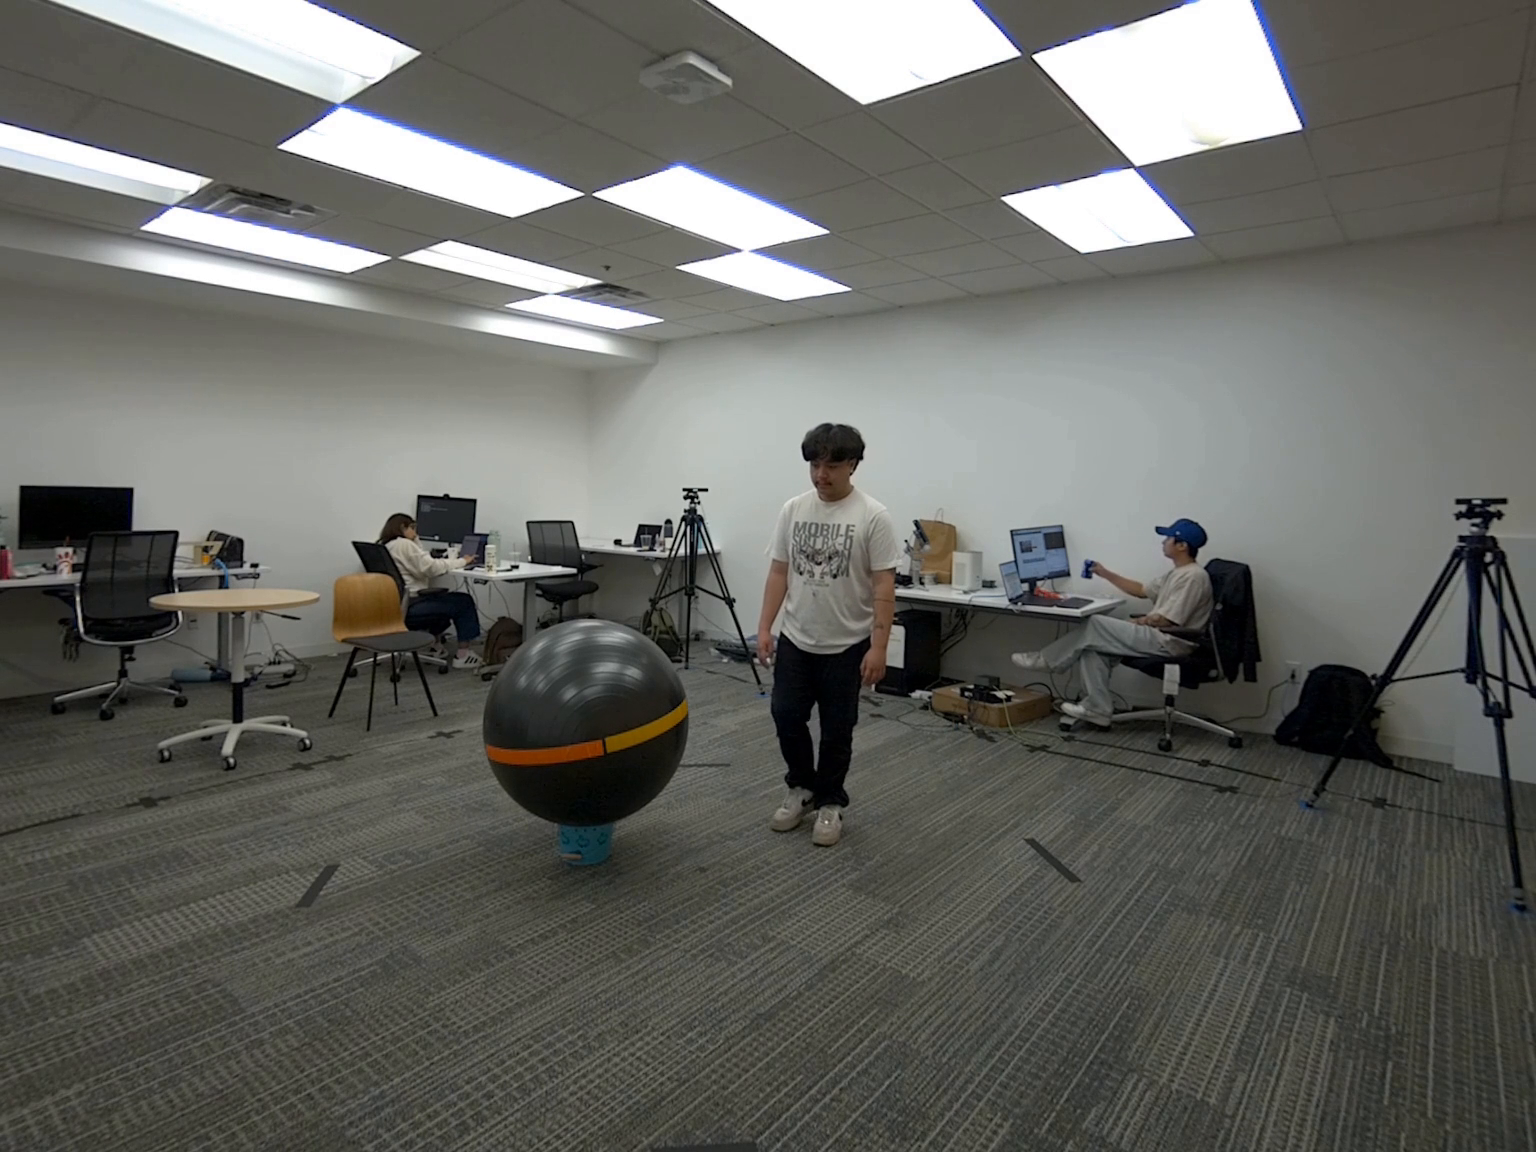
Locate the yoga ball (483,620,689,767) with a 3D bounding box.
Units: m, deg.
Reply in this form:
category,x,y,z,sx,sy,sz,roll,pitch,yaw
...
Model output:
category,x,y,z,sx,sy,sz,roll,pitch,yaw
yoga ball,-0.688,0.541,3.195,0.757,0.755,0.762,1,4,-2
